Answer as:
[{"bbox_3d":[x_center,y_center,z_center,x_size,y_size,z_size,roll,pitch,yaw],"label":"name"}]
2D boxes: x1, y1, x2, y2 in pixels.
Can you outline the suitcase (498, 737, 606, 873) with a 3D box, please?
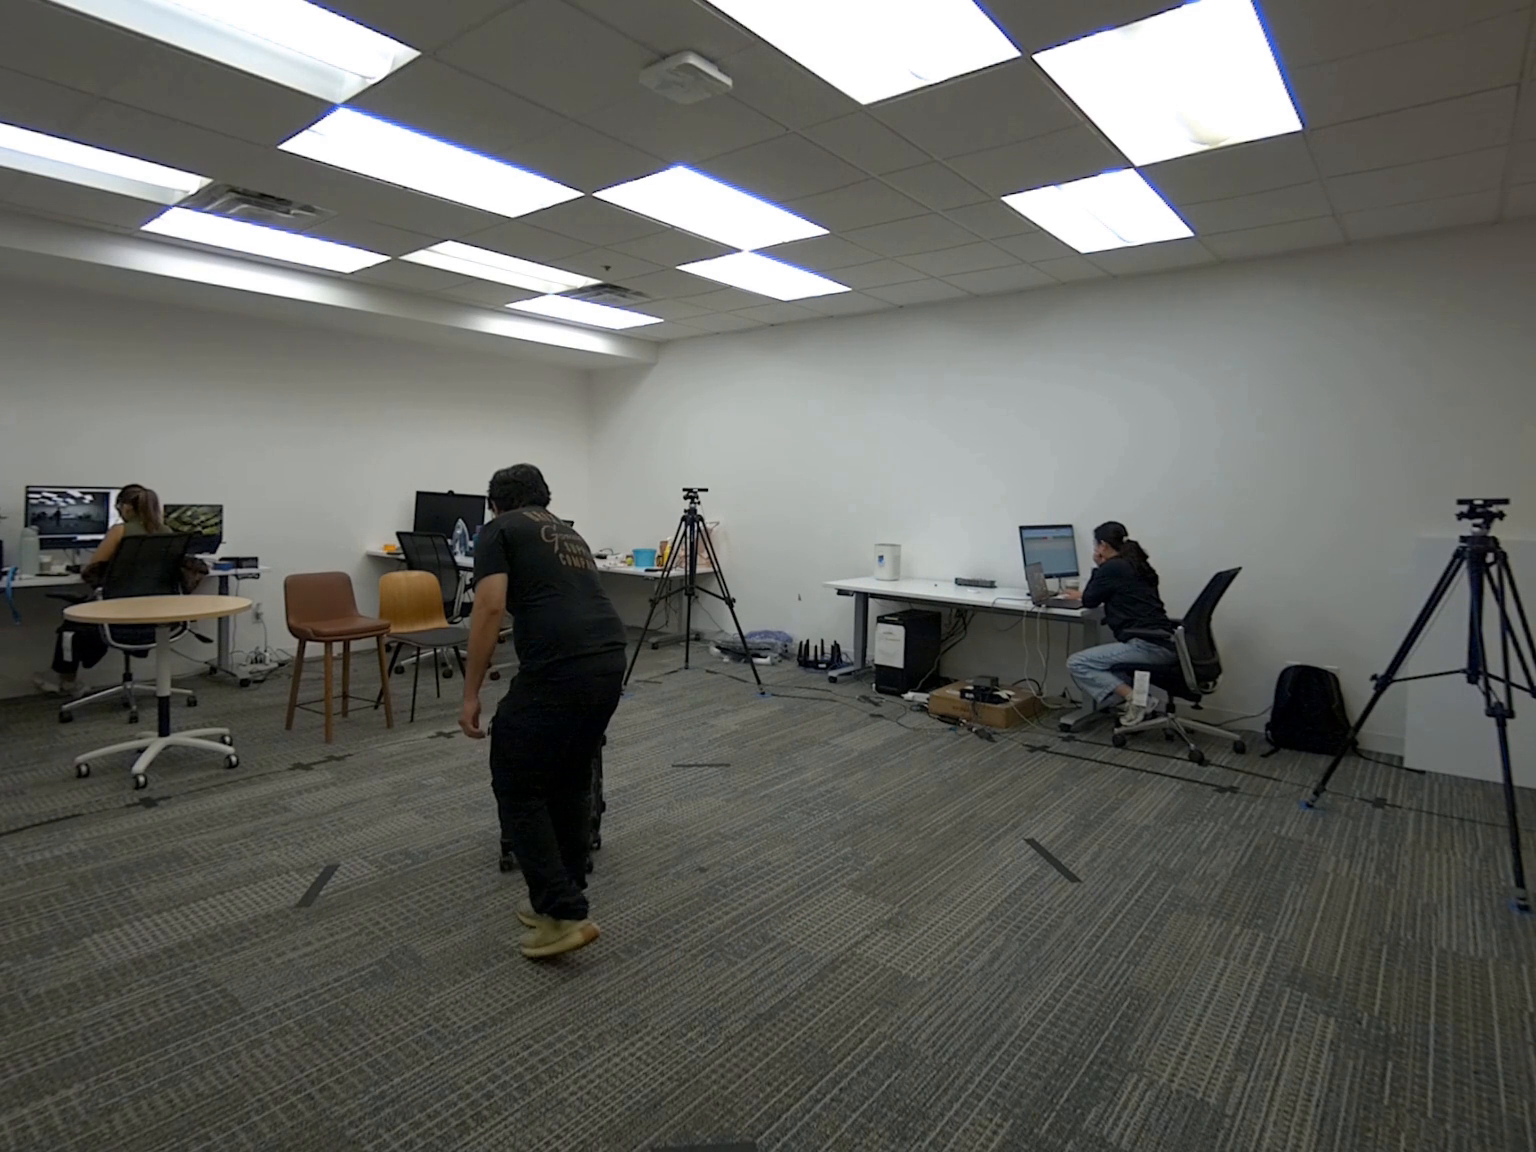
[{"bbox_3d":[-0.809,0.776,3.186,0.376,0.550,0.248,0,0,1],"label":"suitcase"}]
